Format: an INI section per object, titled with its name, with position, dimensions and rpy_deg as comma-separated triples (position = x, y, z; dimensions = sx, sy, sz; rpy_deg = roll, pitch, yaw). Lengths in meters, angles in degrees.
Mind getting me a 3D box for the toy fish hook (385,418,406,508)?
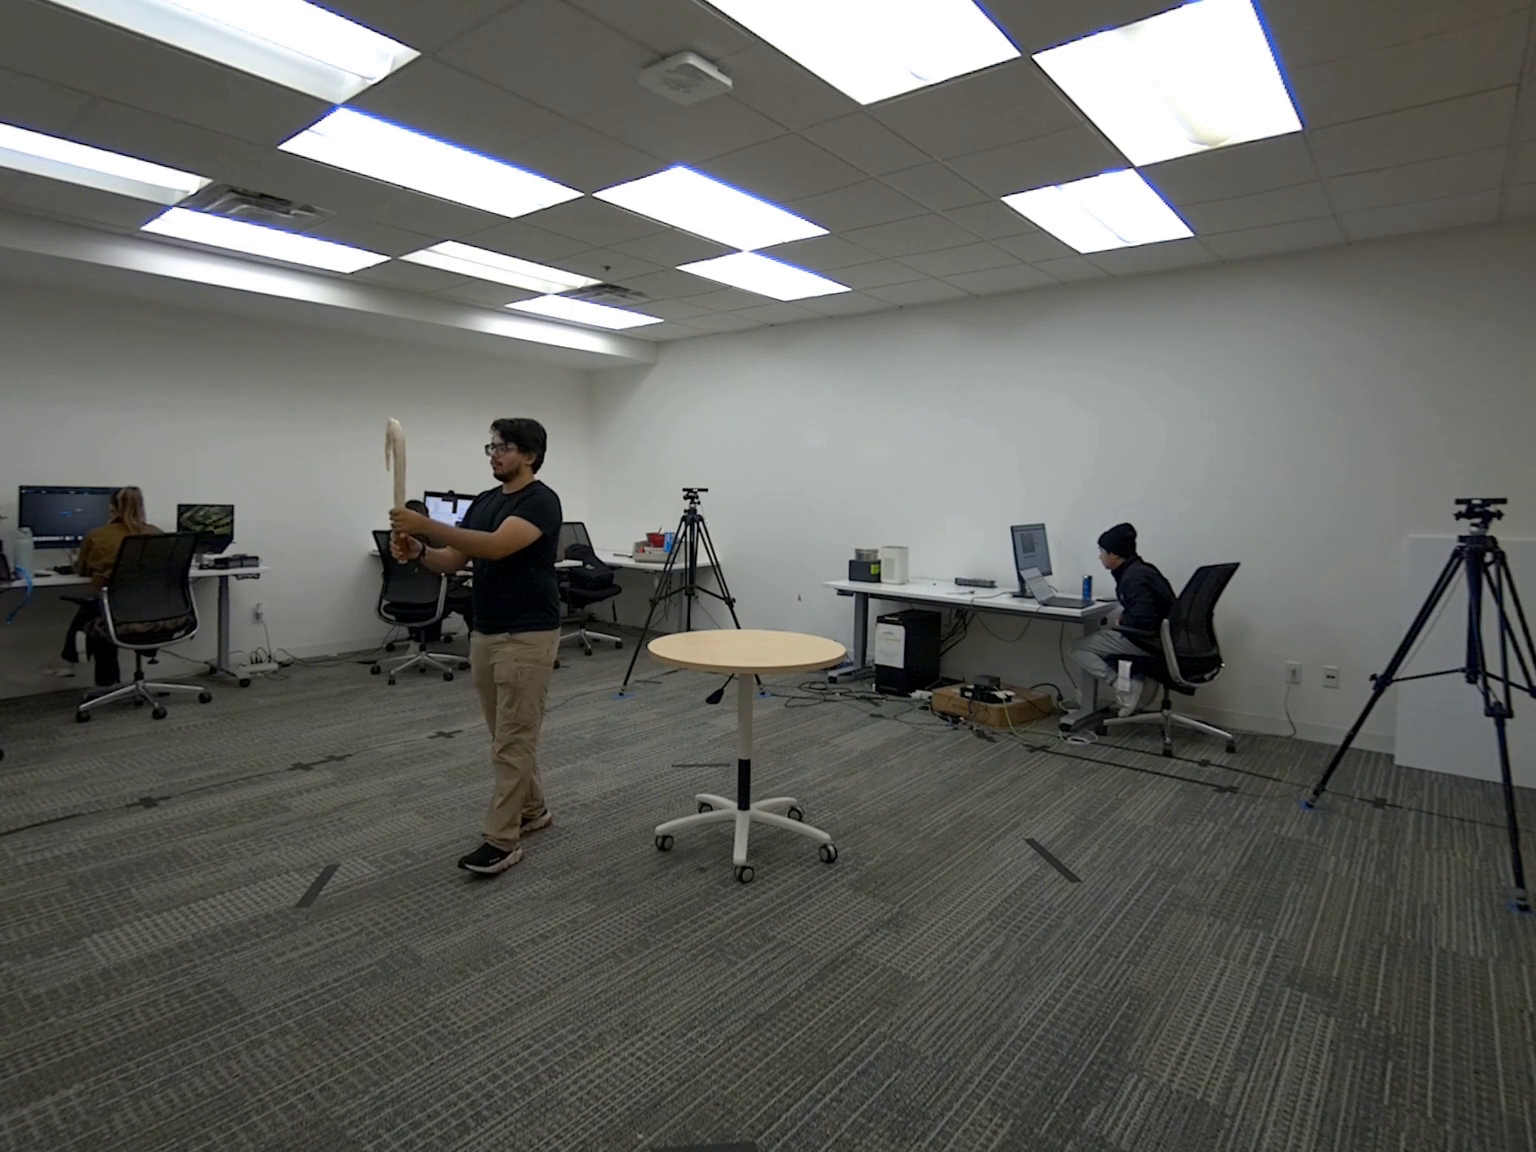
[toy fish hook]
position = -1.336, -0.306, 2.994
dimensions = 0.047, 0.502, 0.232
rpy_deg = -2, 12, -27
